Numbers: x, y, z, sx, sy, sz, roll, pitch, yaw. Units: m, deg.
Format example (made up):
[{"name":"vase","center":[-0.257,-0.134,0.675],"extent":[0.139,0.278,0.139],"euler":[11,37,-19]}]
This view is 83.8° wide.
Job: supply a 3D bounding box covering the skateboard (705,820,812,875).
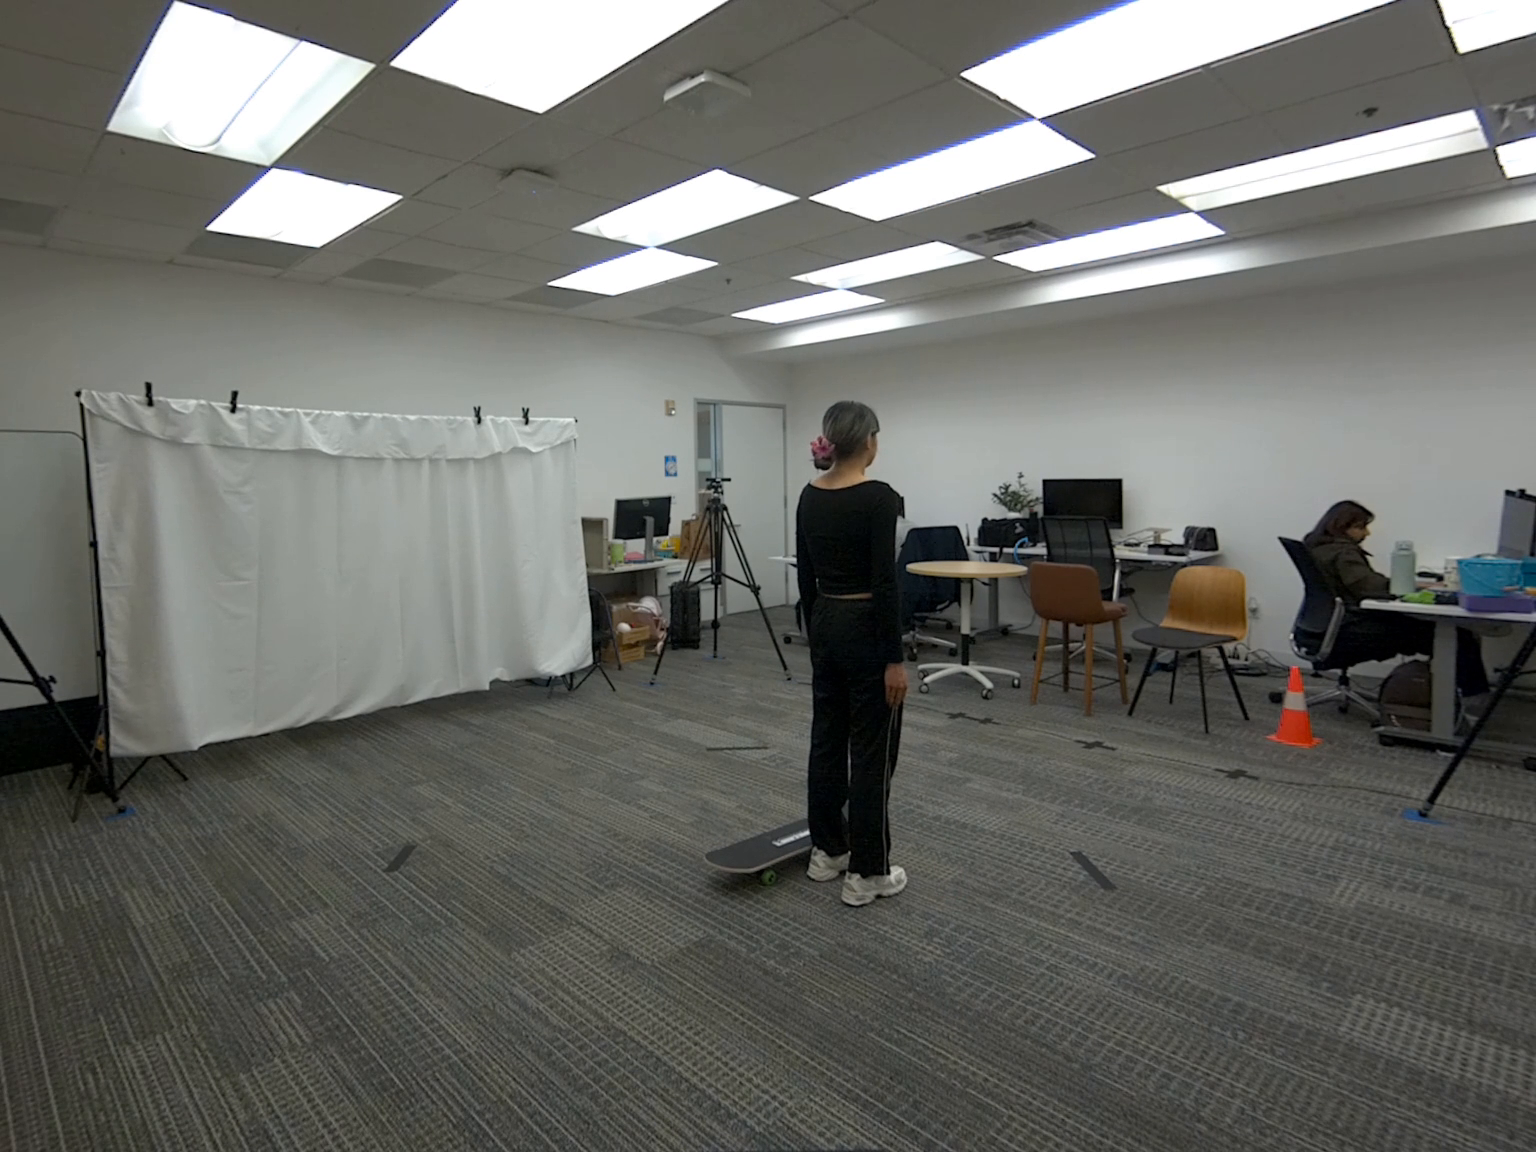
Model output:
[{"name":"skateboard","center":[0.098,0.979,3.124],"extent":[0.765,0.110,0.199],"euler":[-7,7,-40]}]
